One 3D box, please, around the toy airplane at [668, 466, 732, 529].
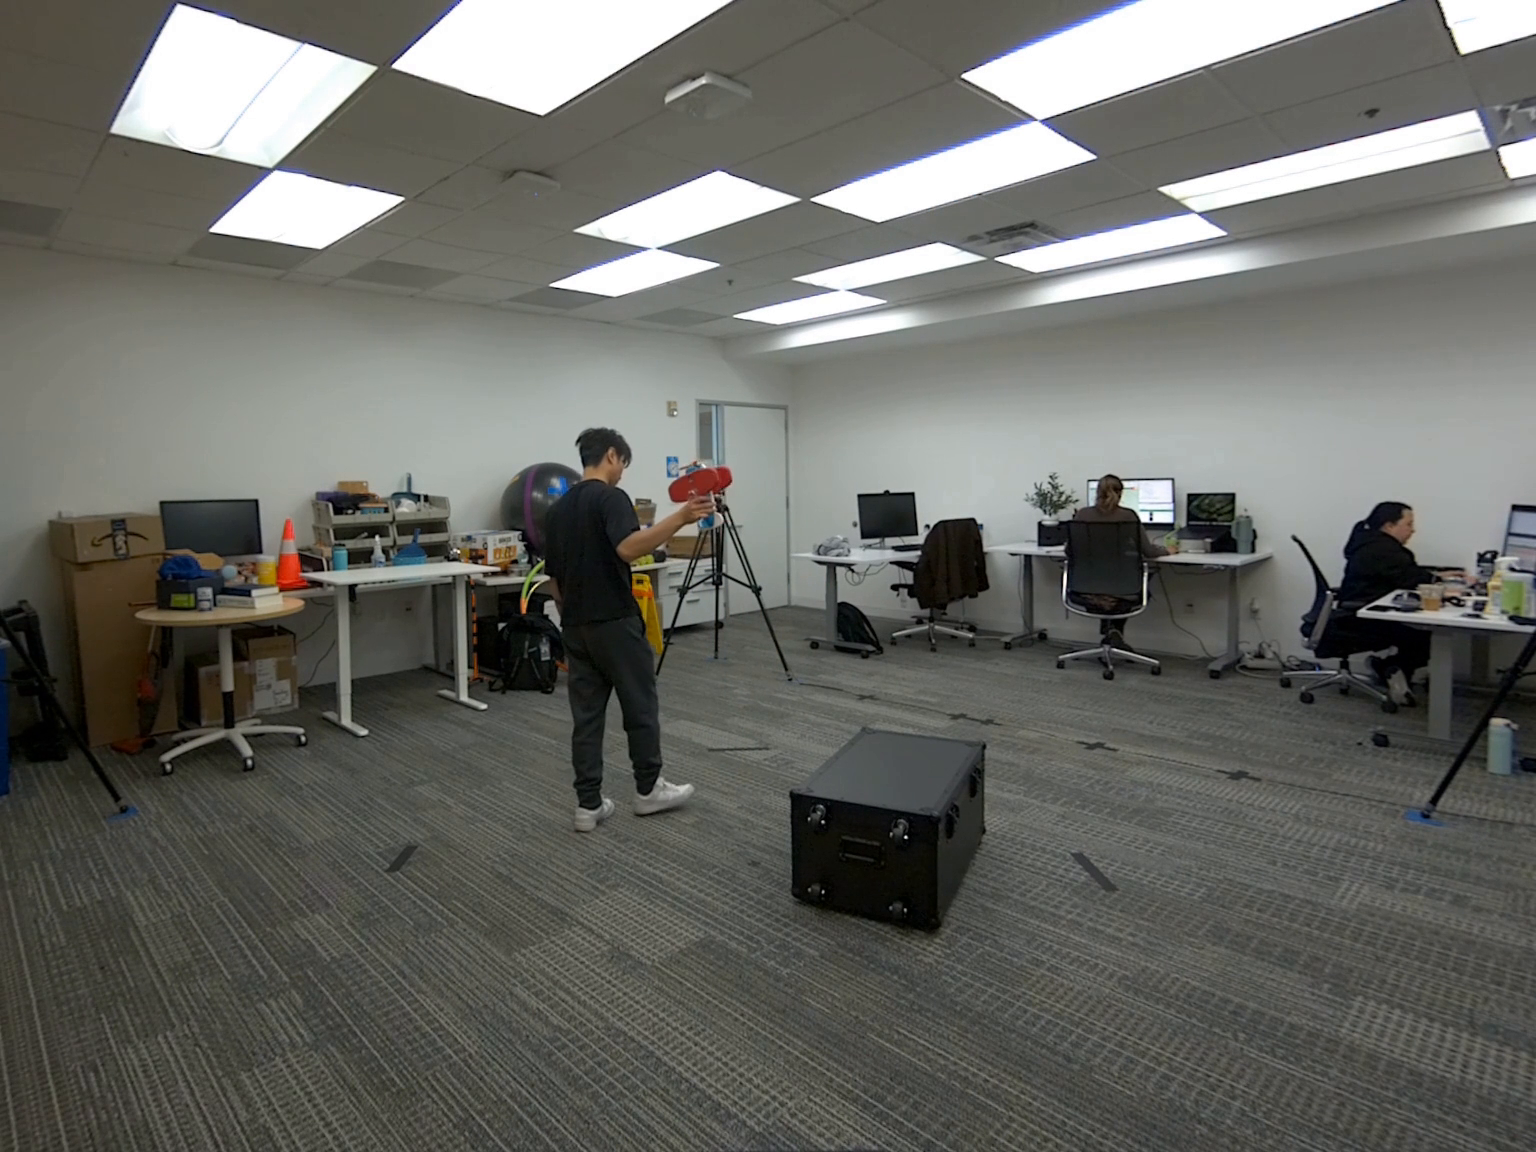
[{"bbox_3d":[-0.220,-0.310,3.228,0.151,0.268,0.251,9,-48,-47],"label":"toy airplane"}]
